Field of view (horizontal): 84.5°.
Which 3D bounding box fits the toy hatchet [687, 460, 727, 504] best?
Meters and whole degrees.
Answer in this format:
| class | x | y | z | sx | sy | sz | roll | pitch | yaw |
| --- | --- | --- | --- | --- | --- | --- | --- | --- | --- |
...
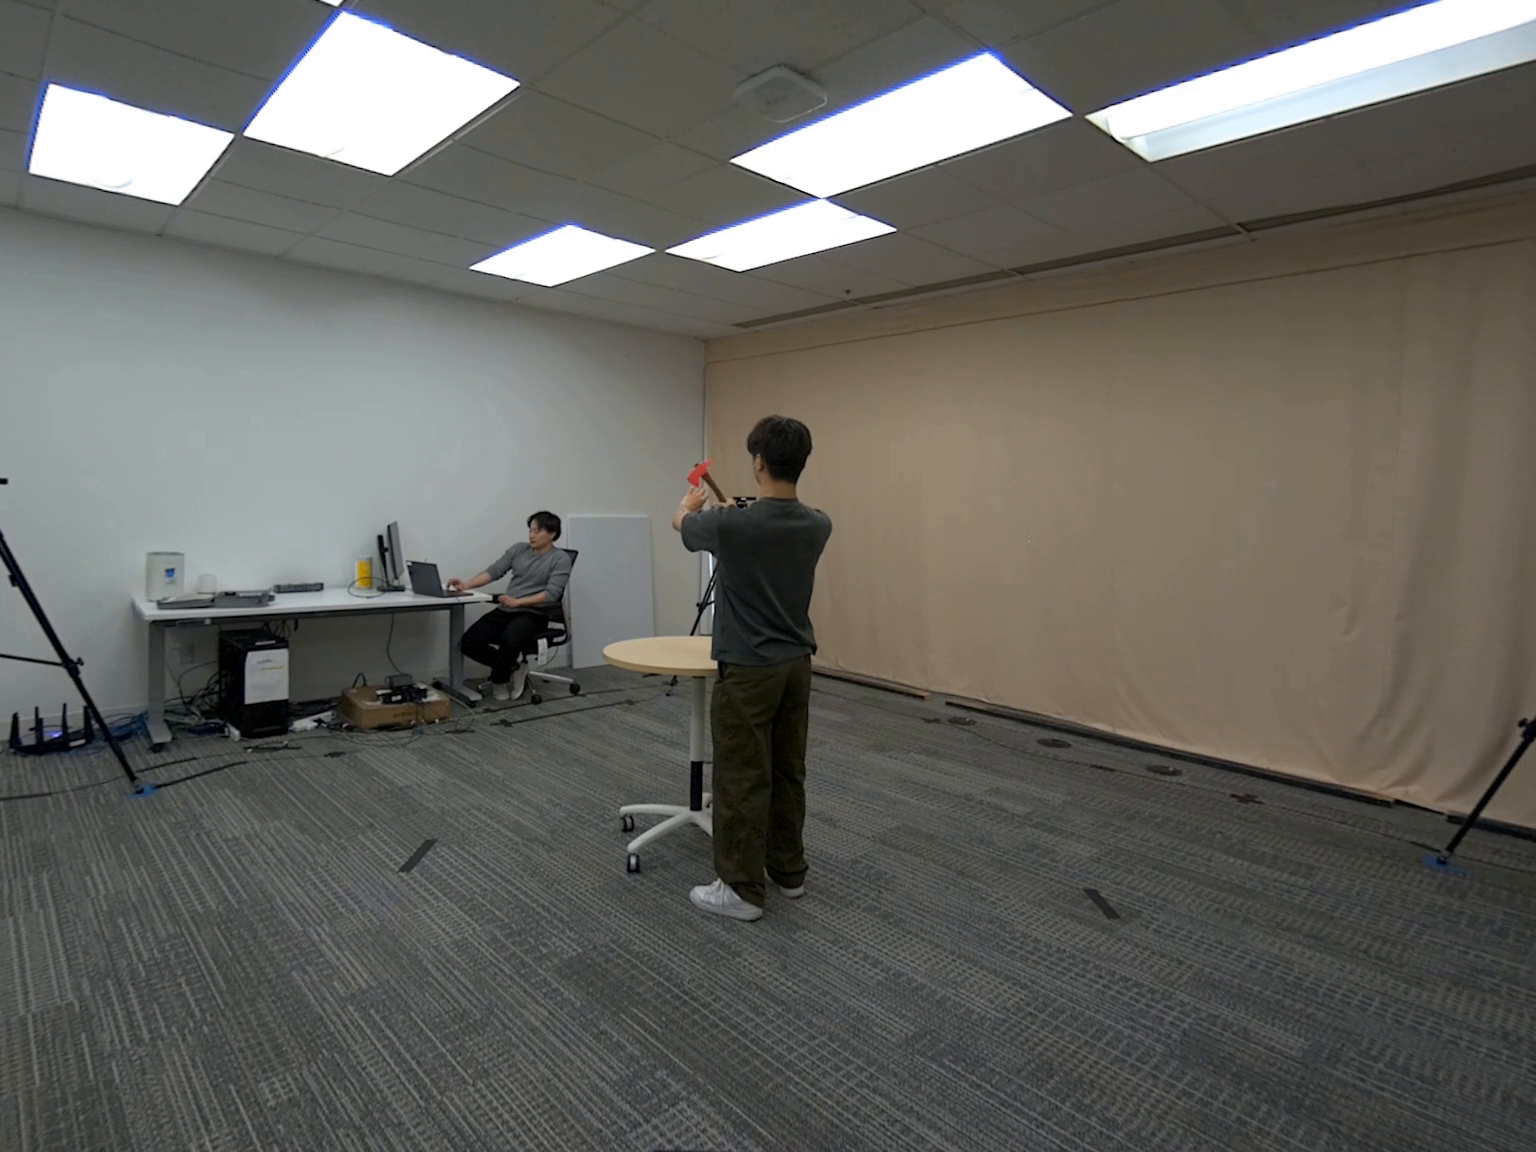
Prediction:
| class | x | y | z | sx | sy | sz | roll | pitch | yaw |
| --- | --- | --- | --- | --- | --- | --- | --- | --- | --- |
| toy hatchet | -0.233 | -0.324 | 3.373 | 0.130 | 0.269 | 0.030 | -21 | 3 | -17 |
